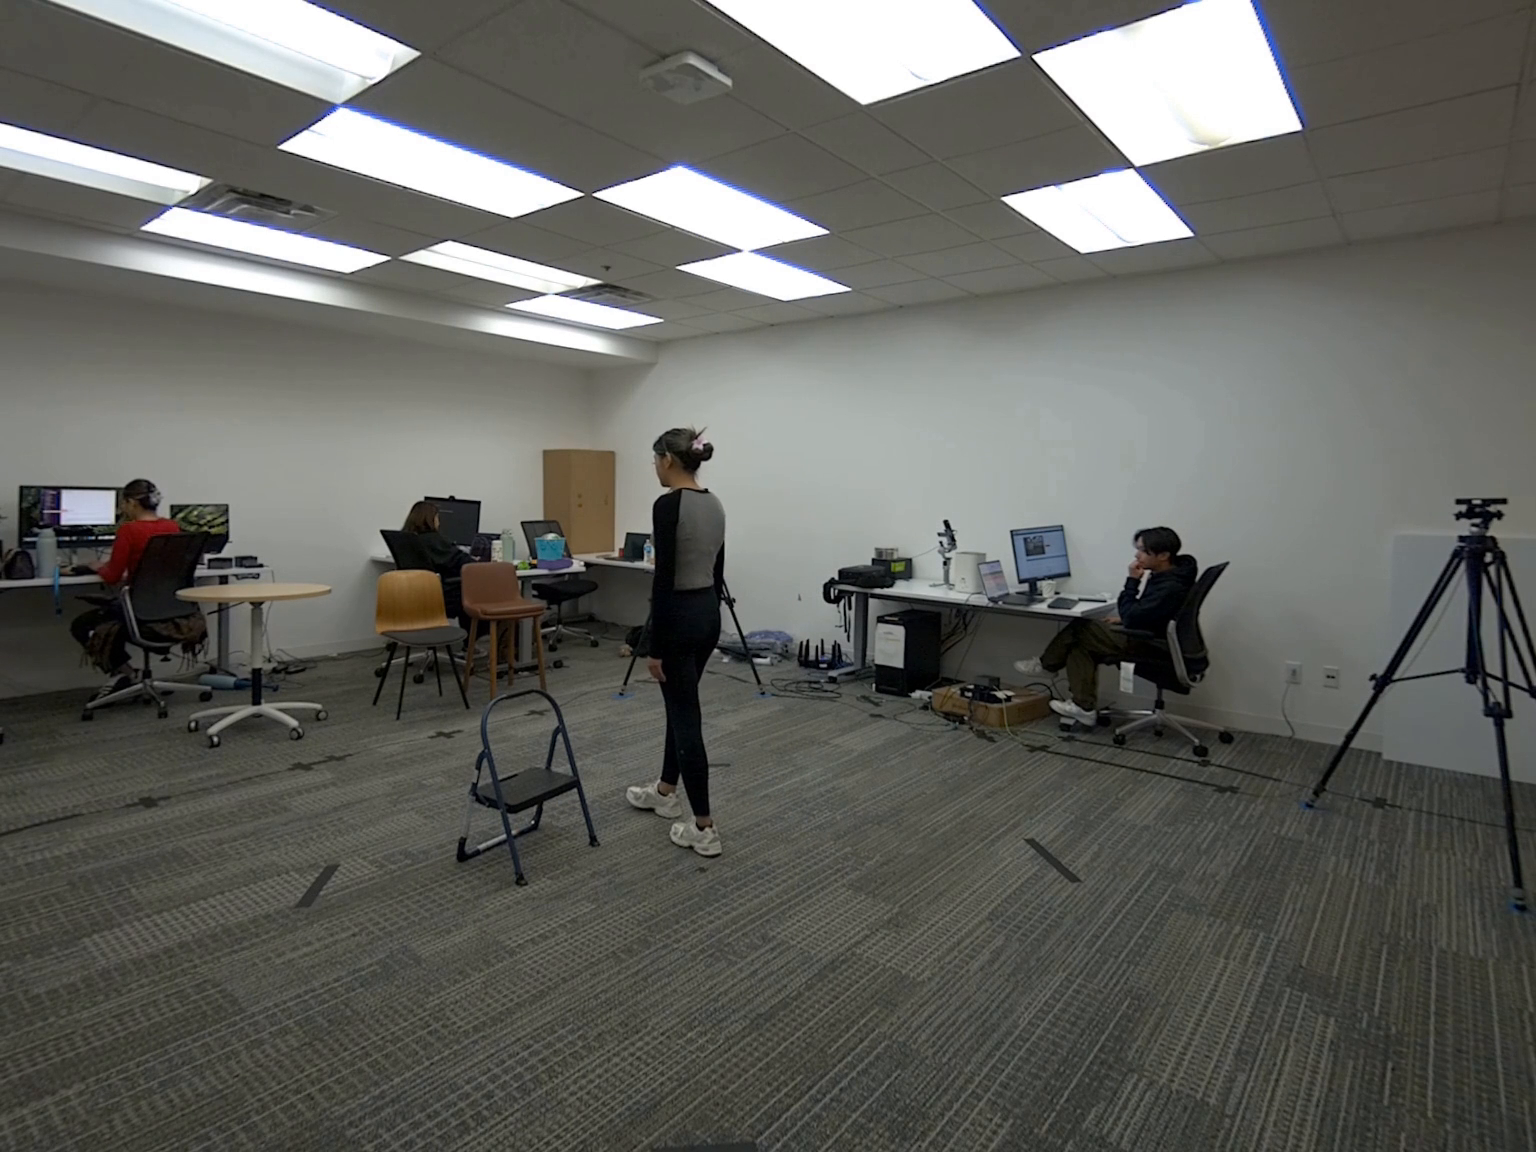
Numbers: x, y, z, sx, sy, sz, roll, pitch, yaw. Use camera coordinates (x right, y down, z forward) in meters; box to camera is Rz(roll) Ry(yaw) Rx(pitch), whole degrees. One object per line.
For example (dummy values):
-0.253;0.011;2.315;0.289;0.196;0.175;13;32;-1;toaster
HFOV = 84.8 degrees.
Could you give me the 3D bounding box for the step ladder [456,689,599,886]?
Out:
-0.909;0.745;3.206;0.359;0.604;0.419;3;3;30;step ladder
